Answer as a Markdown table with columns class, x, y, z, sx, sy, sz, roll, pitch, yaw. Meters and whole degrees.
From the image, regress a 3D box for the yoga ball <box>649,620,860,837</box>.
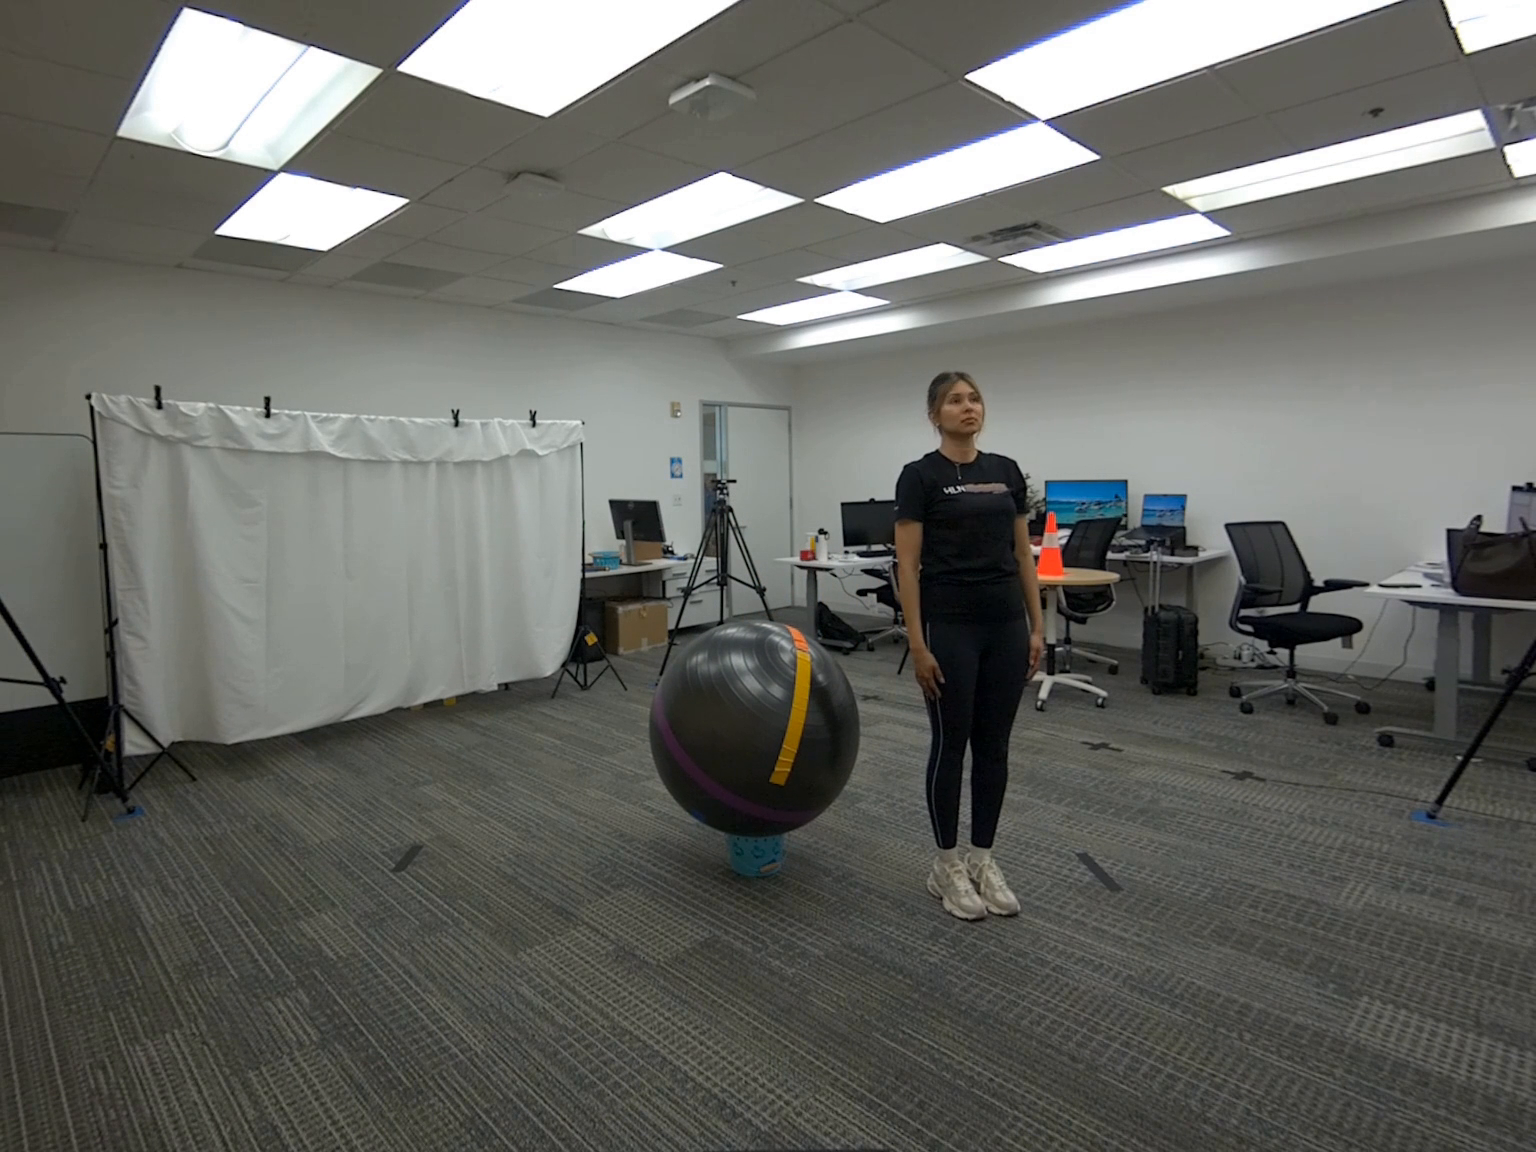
| class | x | y | z | sx | sy | sz | roll | pitch | yaw |
| --- | --- | --- | --- | --- | --- | --- | --- | --- | --- |
| yoga ball | -0.048 | 0.538 | 3.070 | 0.757 | 0.755 | 0.762 | -1 | 5 | -2 |
